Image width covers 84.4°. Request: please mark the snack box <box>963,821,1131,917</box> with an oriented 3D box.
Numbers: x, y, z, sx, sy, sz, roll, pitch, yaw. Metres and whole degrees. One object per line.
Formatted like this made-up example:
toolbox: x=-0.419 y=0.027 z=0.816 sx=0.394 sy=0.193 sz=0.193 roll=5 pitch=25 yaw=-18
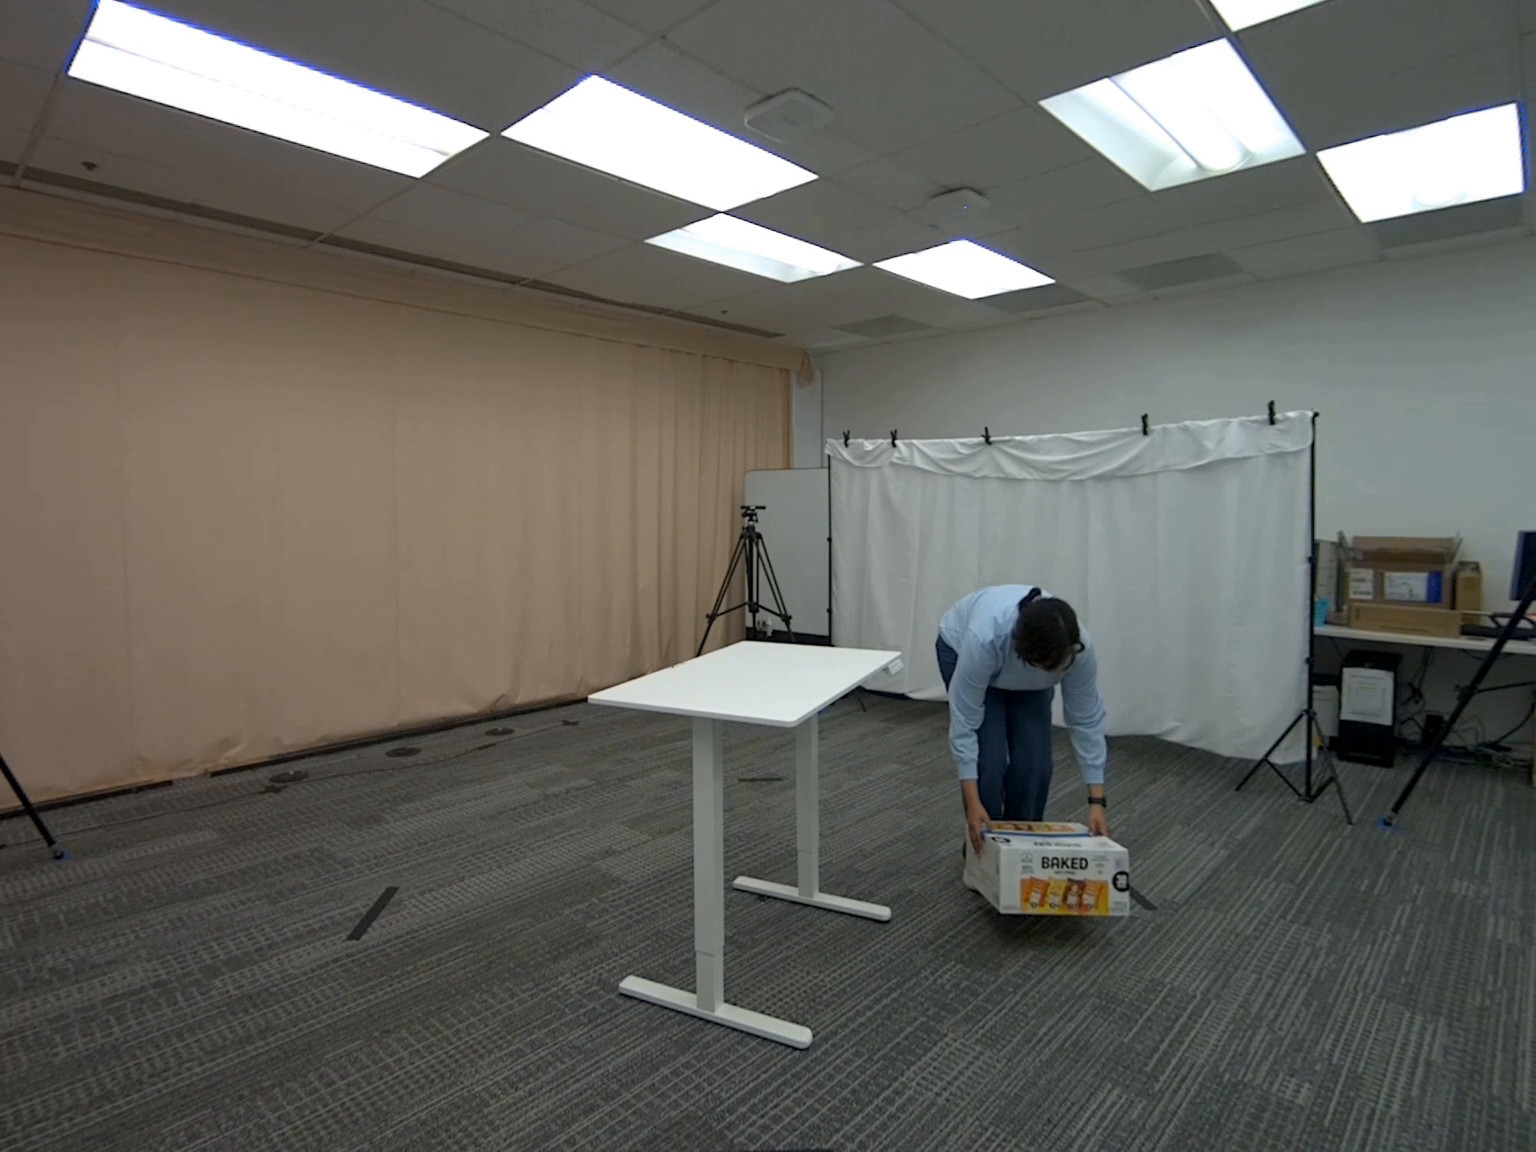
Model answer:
snack box: x=0.906 y=0.949 z=2.774 sx=0.404 sy=0.206 sz=0.340 roll=1 pitch=-4 yaw=-3
